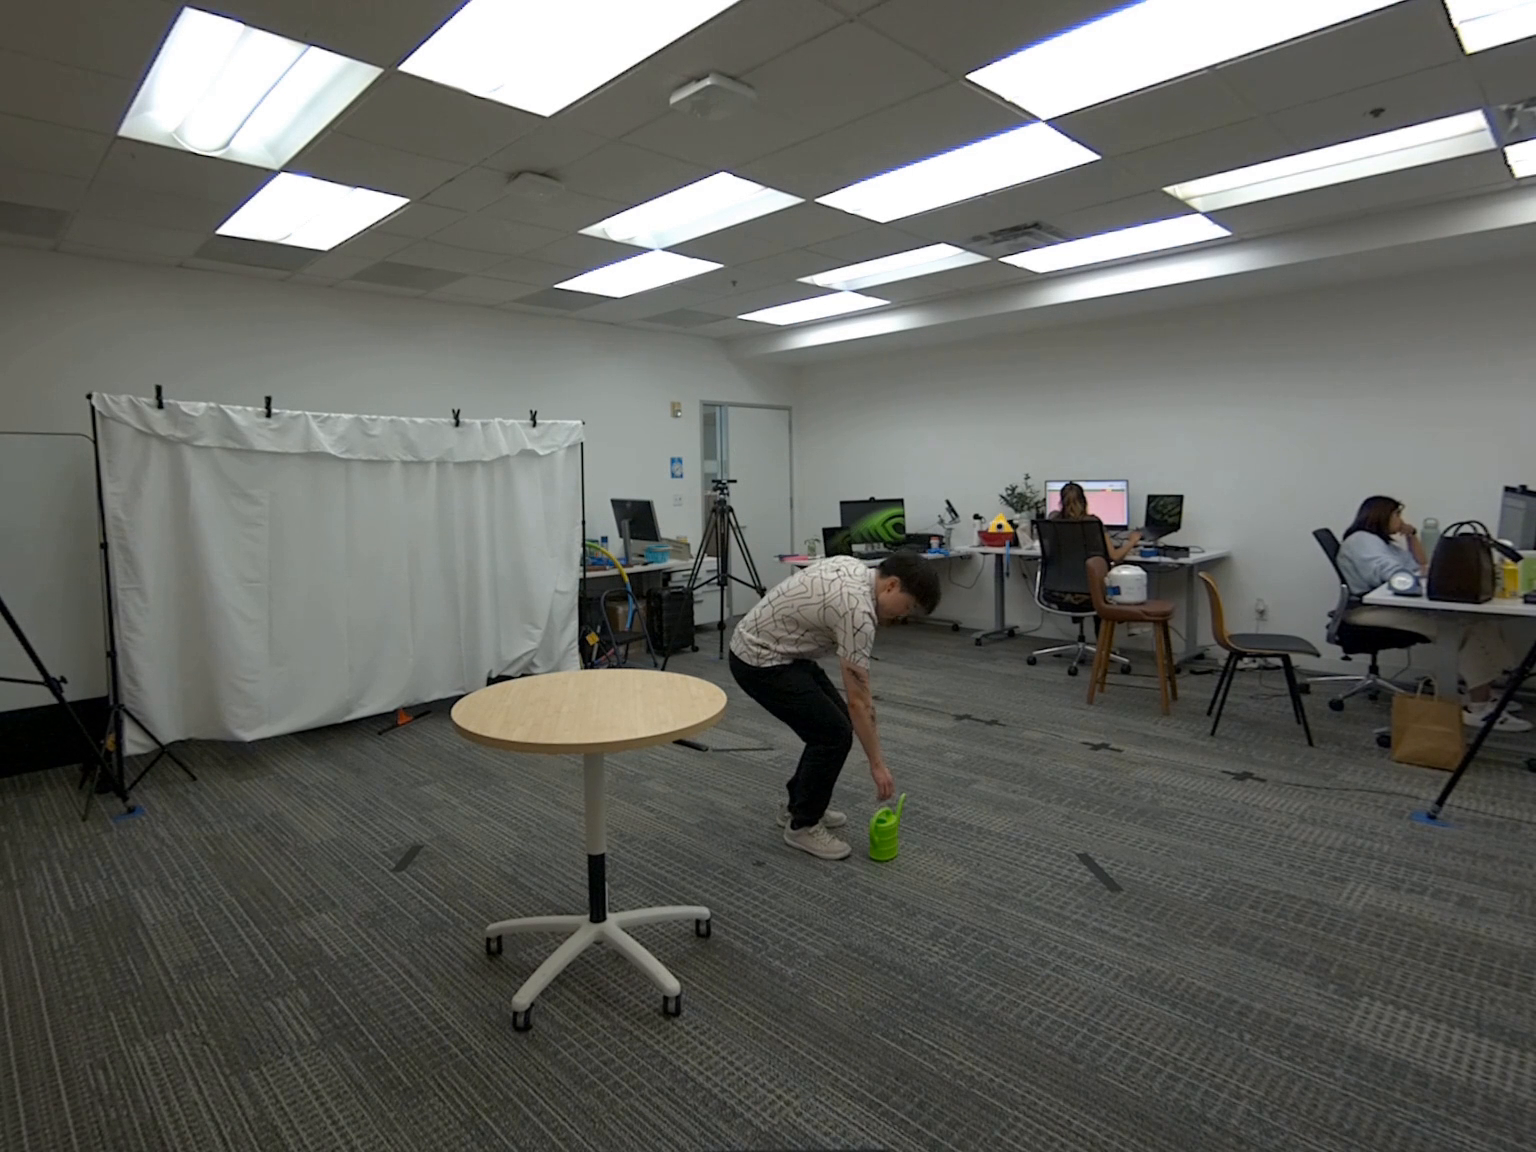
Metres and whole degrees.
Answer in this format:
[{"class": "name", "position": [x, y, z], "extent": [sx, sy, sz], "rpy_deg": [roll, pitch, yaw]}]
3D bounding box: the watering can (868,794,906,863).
[{"class": "watering can", "position": [0.451, 0.936, 3.188], "extent": [0.271, 0.176, 0.101], "rpy_deg": [-4, 5, -40]}]
